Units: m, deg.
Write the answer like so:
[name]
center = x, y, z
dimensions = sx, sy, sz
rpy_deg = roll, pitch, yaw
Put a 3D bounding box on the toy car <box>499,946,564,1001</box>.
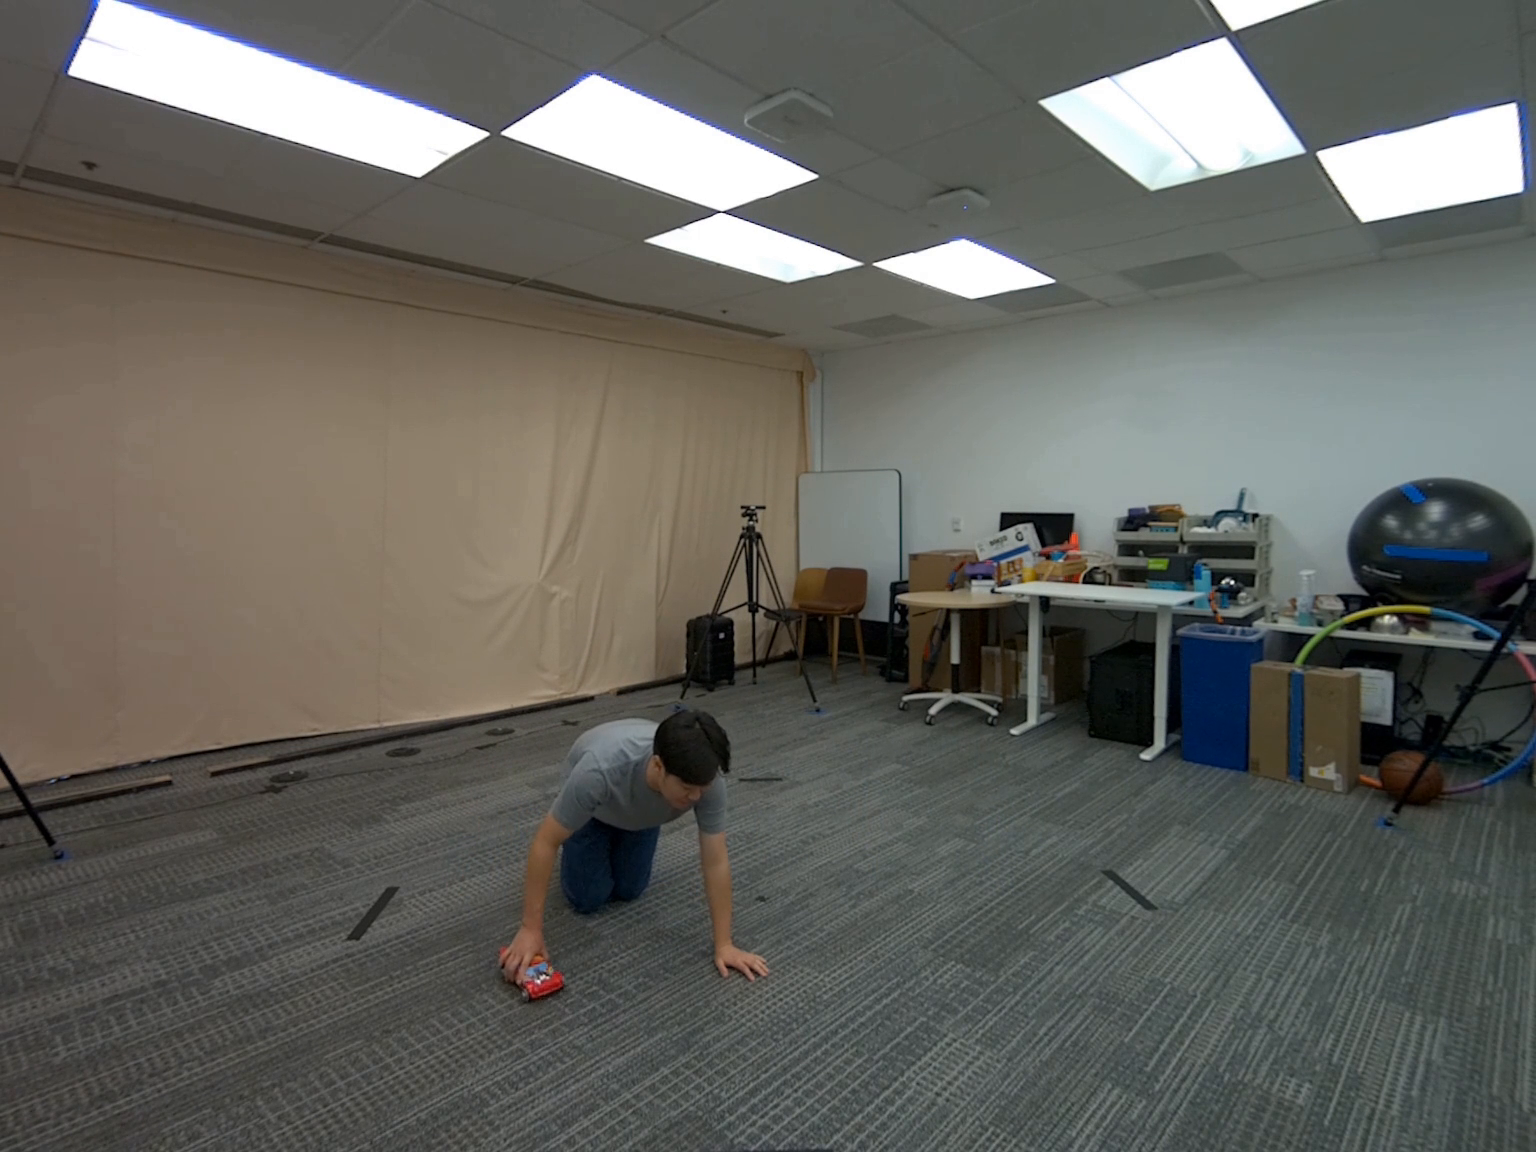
[toy car]
center = -0.689, 1.158, 2.459
dimensions = 0.126, 0.083, 0.264
rpy_deg = -5, 16, -40
